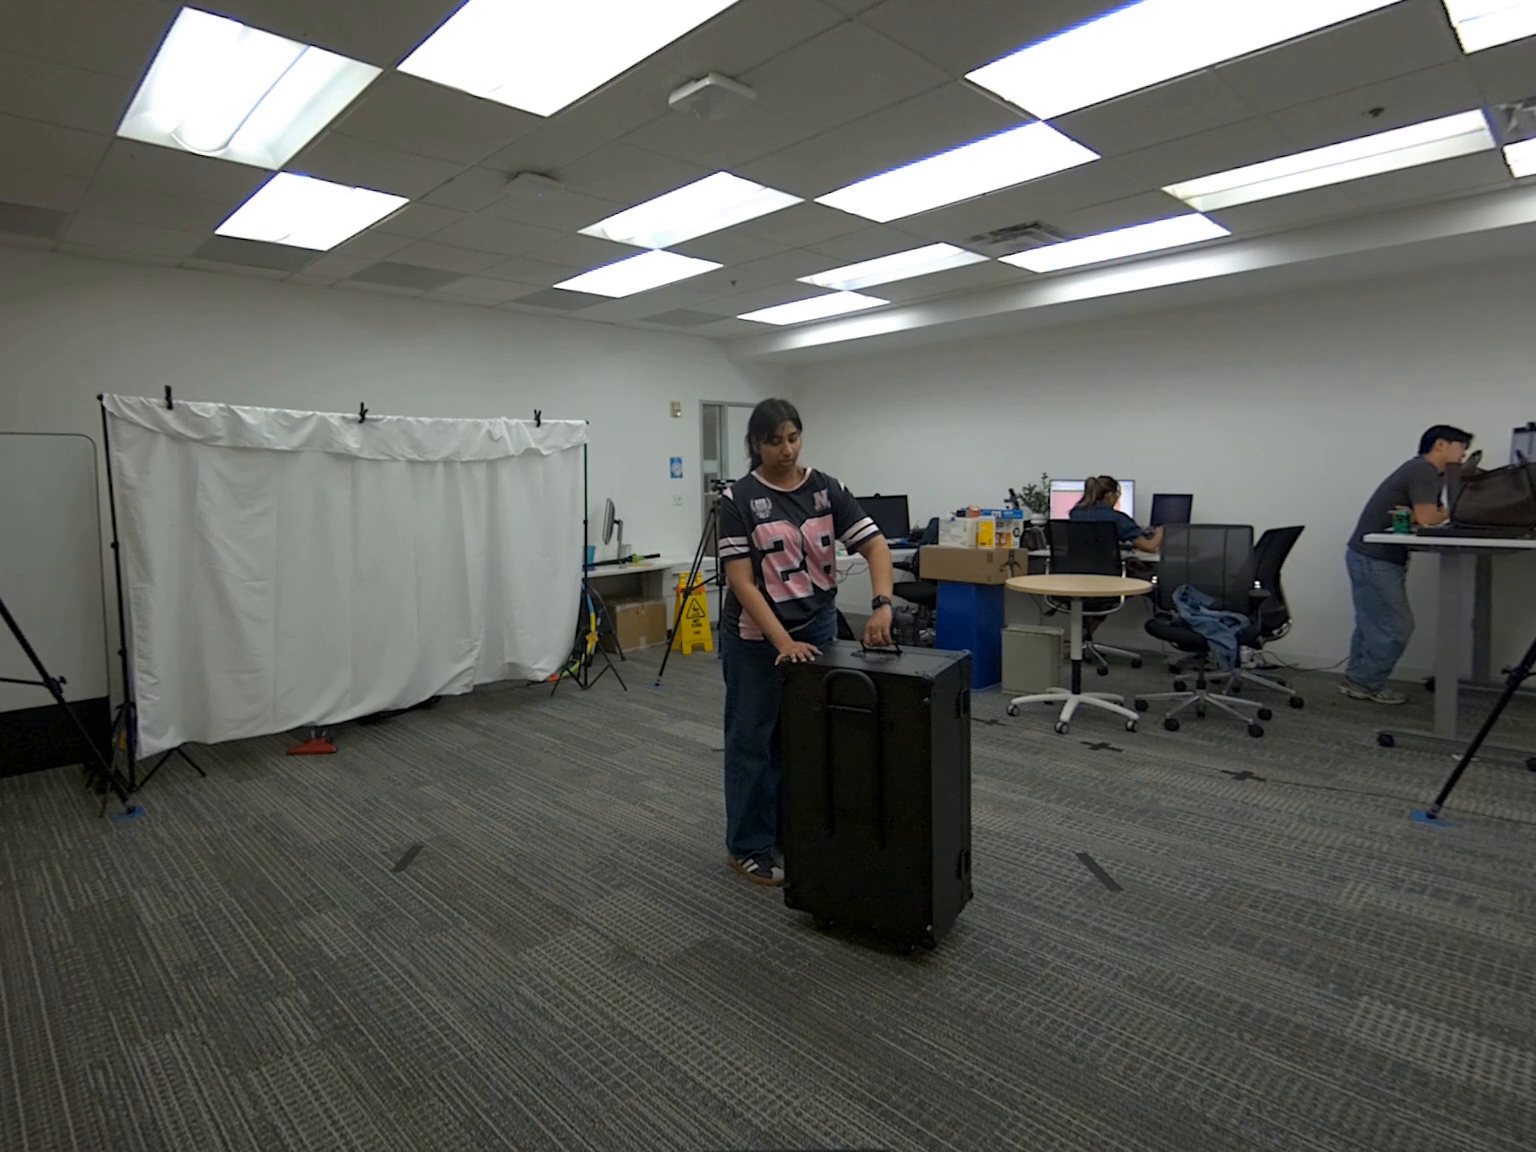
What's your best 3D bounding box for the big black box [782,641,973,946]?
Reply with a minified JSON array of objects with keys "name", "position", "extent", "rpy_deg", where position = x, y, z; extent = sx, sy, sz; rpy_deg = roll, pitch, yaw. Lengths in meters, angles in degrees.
[{"name":"big black box","position":[0.346,0.671,2.631],"extent":[0.537,0.864,0.377],"rpy_deg":[1,6,31]}]
